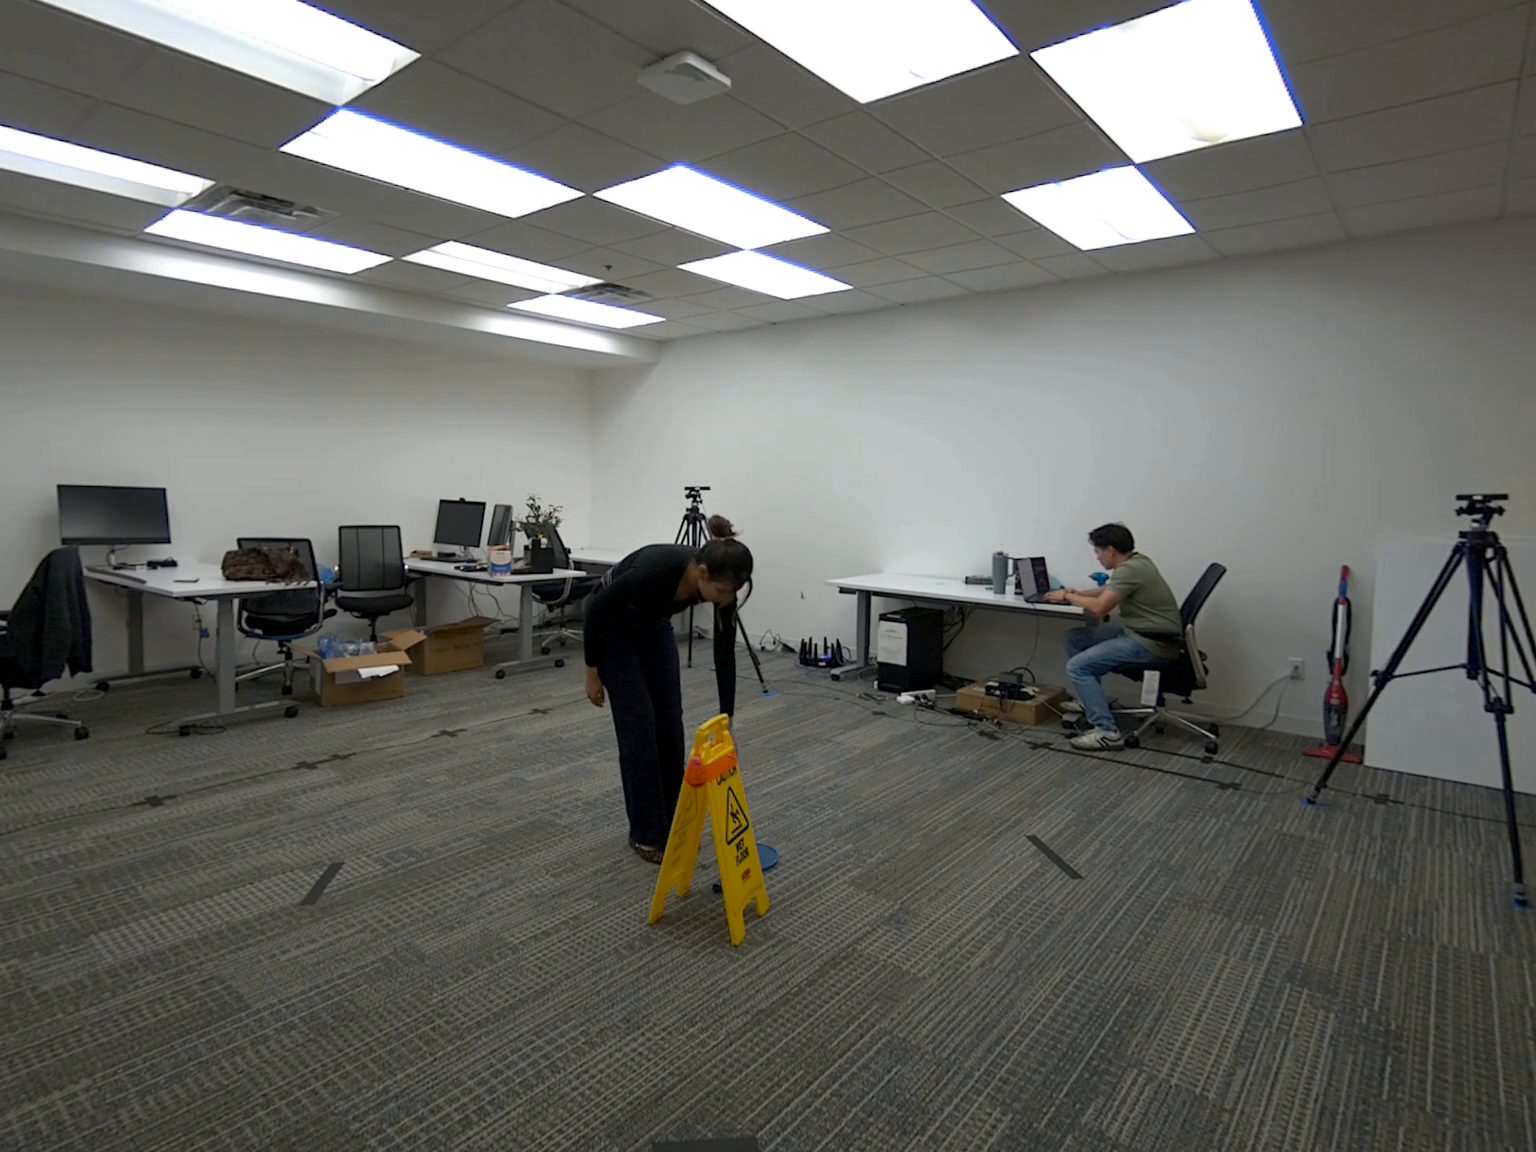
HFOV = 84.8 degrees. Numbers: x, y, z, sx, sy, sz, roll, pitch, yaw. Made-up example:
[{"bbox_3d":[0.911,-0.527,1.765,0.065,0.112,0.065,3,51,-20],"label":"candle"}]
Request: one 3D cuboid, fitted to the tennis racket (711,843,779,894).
[{"bbox_3d":[-0.101,1.051,3.110,0.219,0.032,0.423,4,4,23],"label":"tennis racket"}]
